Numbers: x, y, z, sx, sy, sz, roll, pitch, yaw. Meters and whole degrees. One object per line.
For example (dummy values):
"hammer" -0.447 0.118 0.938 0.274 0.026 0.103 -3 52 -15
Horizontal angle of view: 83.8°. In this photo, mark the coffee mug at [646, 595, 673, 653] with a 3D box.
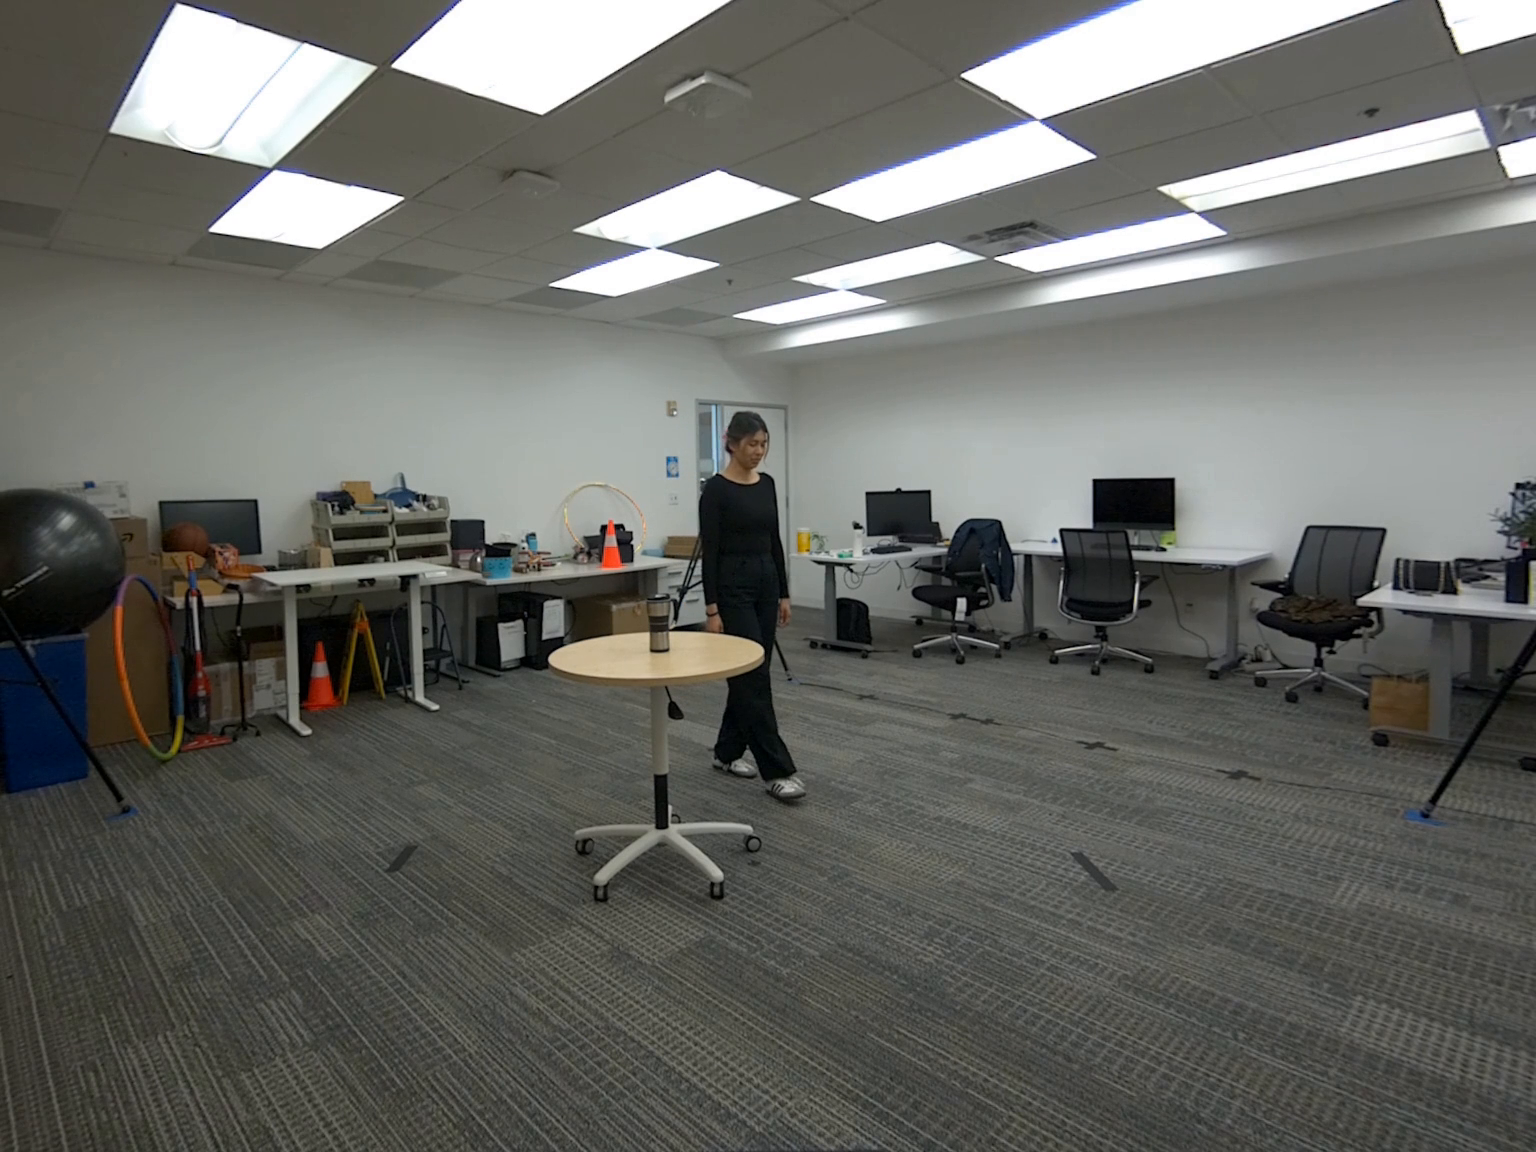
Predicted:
"coffee mug" -0.382 0.174 3.055 0.086 0.203 0.125 2 -1 -29
